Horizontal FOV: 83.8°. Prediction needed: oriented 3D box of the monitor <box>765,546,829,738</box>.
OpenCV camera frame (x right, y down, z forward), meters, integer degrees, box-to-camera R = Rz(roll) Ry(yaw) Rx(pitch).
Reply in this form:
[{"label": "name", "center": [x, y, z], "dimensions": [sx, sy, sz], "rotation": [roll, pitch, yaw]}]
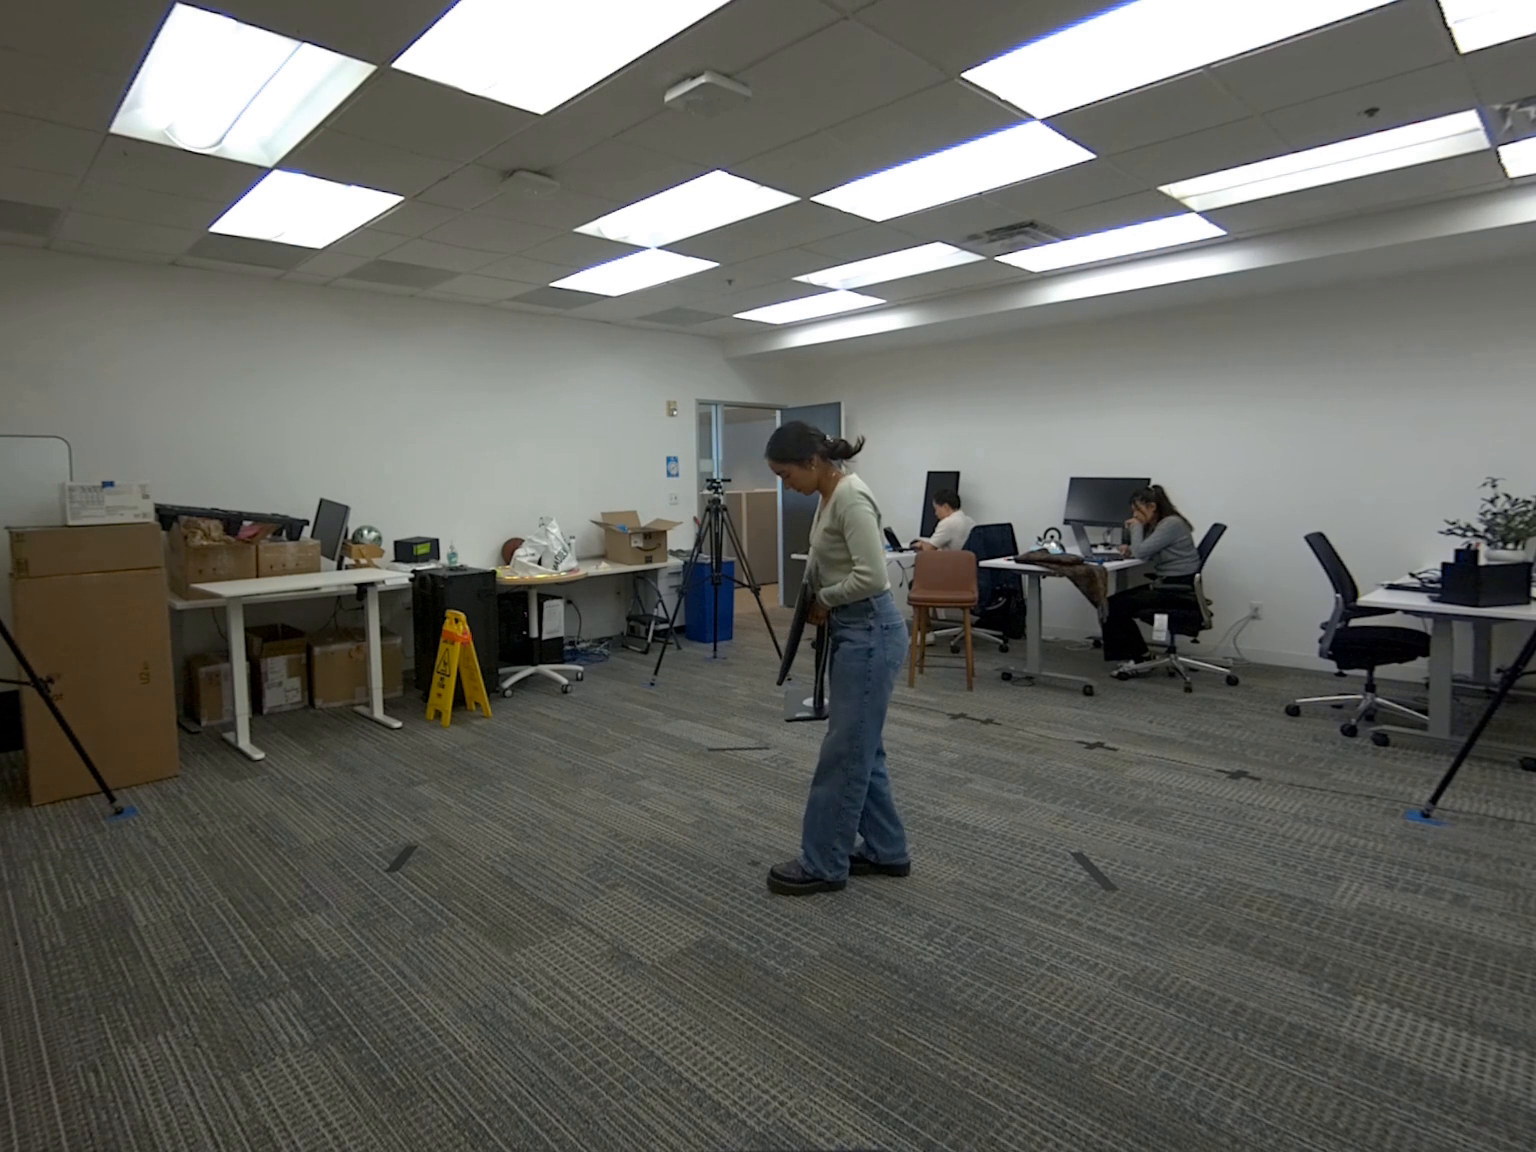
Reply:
[{"label": "monitor", "center": [0.141, 0.201, 2.964], "dimensions": [0.176, 0.511, 0.530], "rotation": [-6, 11, 9]}]
